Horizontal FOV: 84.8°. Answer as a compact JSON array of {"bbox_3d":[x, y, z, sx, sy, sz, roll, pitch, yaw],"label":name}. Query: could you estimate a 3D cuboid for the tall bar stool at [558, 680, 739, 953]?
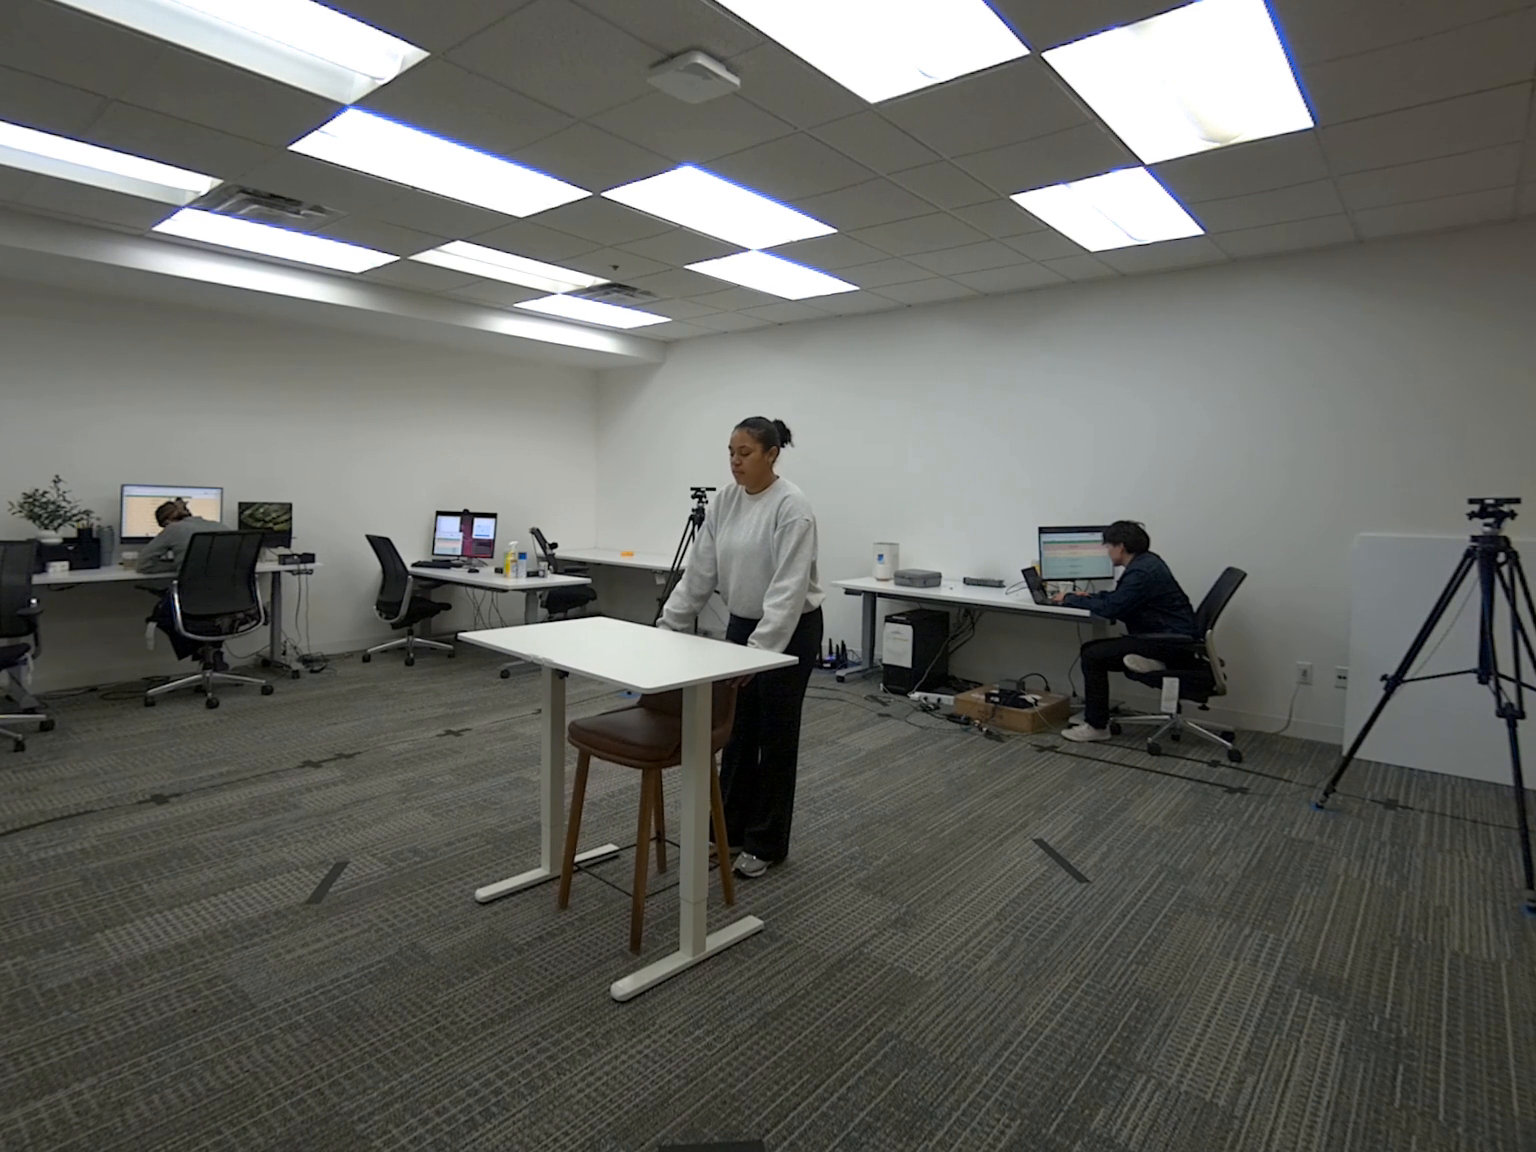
[{"bbox_3d":[-0.388,0.663,2.799,0.472,0.888,0.453,5,3,44],"label":"tall bar stool"}]
